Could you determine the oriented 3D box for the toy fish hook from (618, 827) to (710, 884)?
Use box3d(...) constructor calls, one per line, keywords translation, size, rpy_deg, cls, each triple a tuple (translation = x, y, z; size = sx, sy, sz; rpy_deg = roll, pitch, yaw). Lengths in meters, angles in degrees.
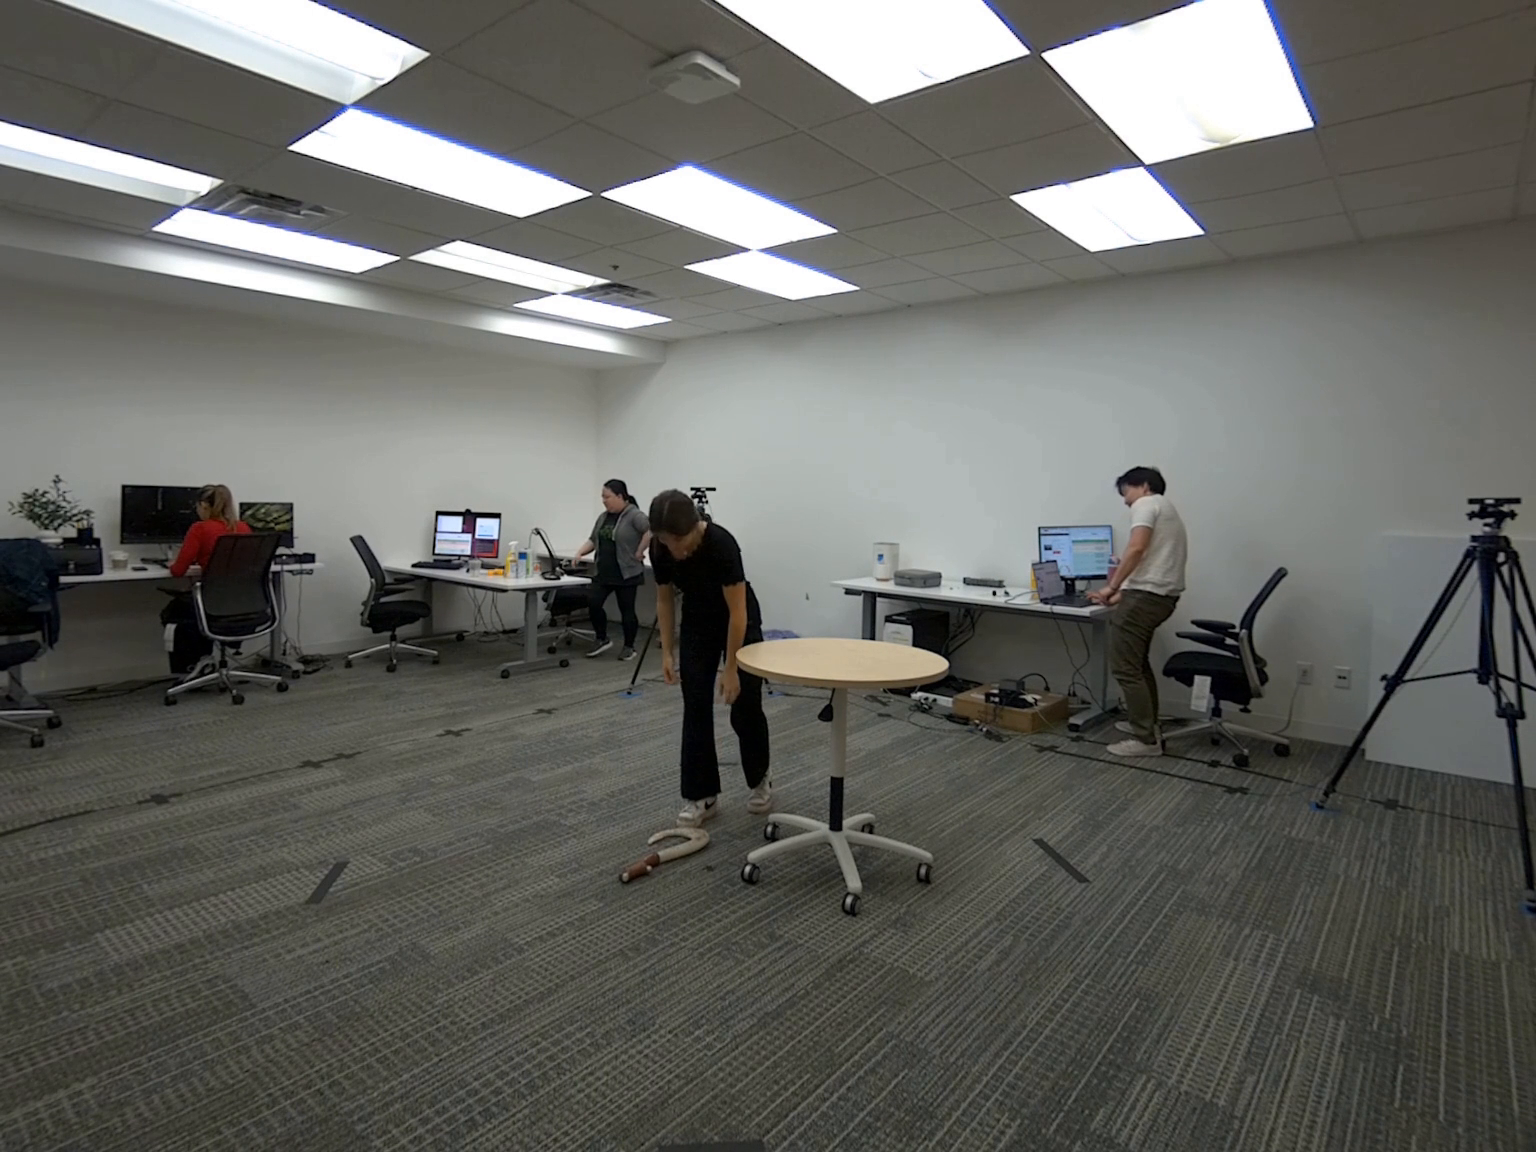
box3d(translation=(-0.428, 1.037, 3.204), size=(0.231, 0.048, 0.492), rpy_deg=(-5, 0, 34), cls="toy fish hook")
